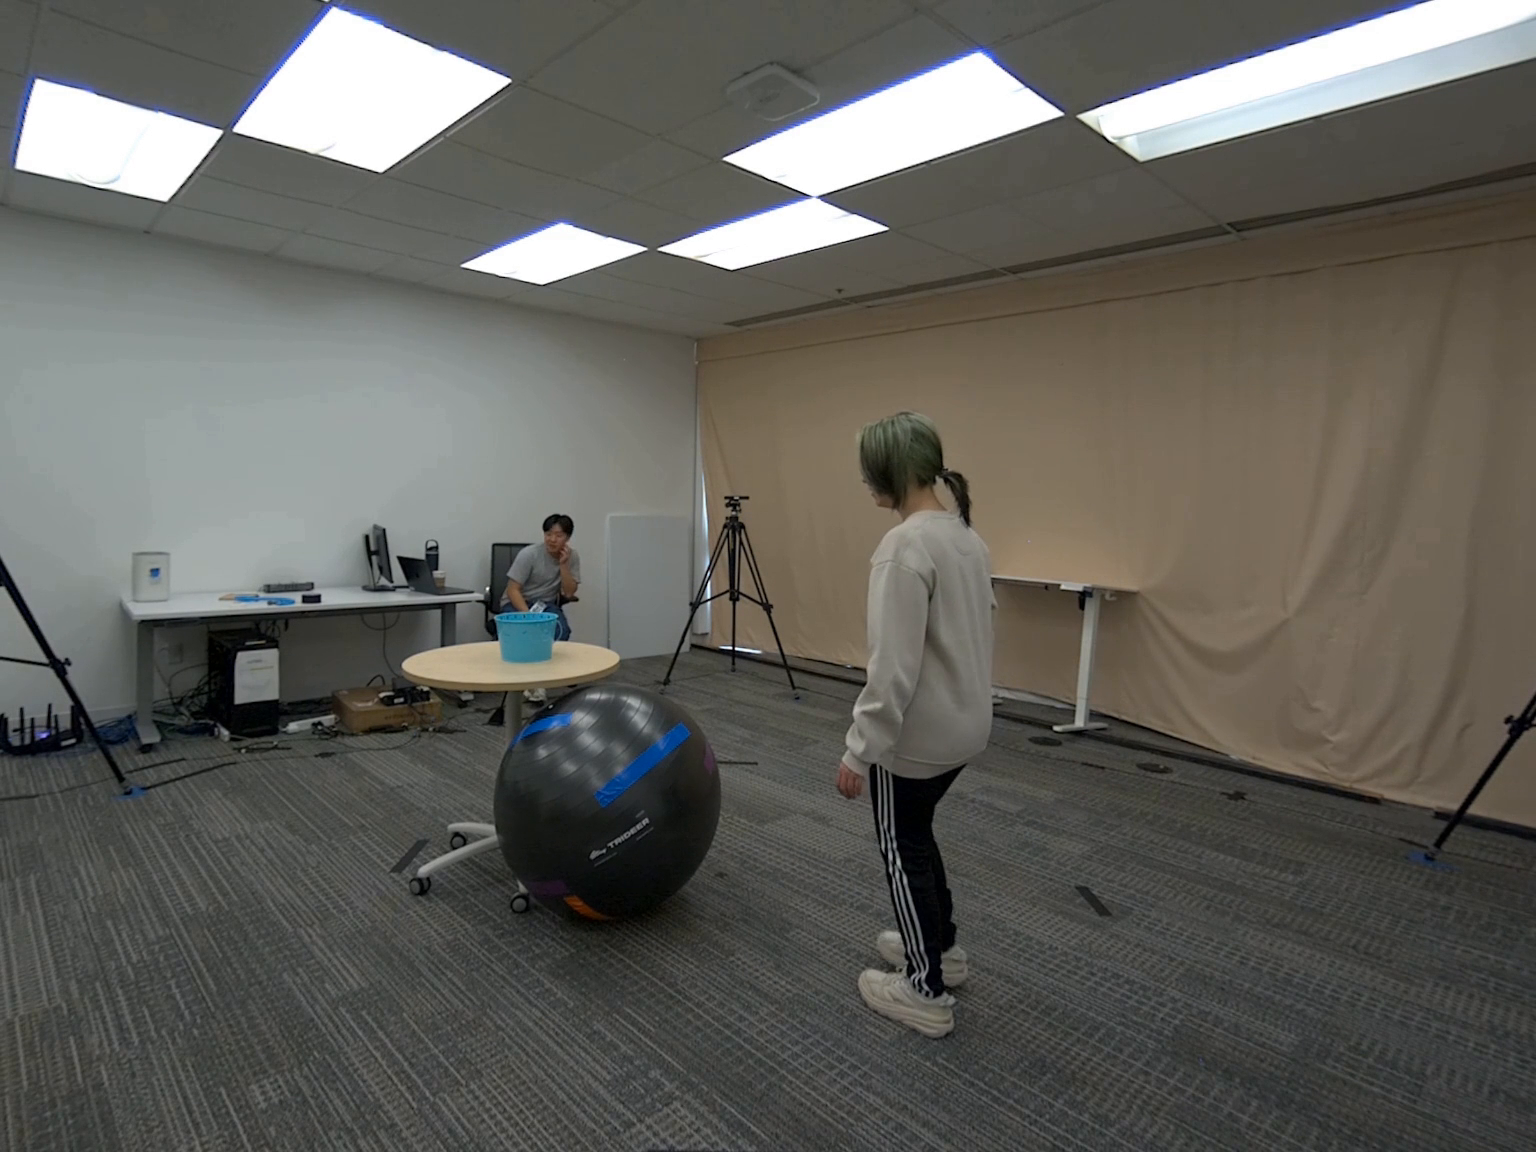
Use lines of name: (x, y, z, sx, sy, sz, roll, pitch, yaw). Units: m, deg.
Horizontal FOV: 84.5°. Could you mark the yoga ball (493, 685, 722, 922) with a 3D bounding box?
yoga ball: (-0.544, 0.757, 2.824, 0.757, 0.756, 0.761, 1, 4, -1)
